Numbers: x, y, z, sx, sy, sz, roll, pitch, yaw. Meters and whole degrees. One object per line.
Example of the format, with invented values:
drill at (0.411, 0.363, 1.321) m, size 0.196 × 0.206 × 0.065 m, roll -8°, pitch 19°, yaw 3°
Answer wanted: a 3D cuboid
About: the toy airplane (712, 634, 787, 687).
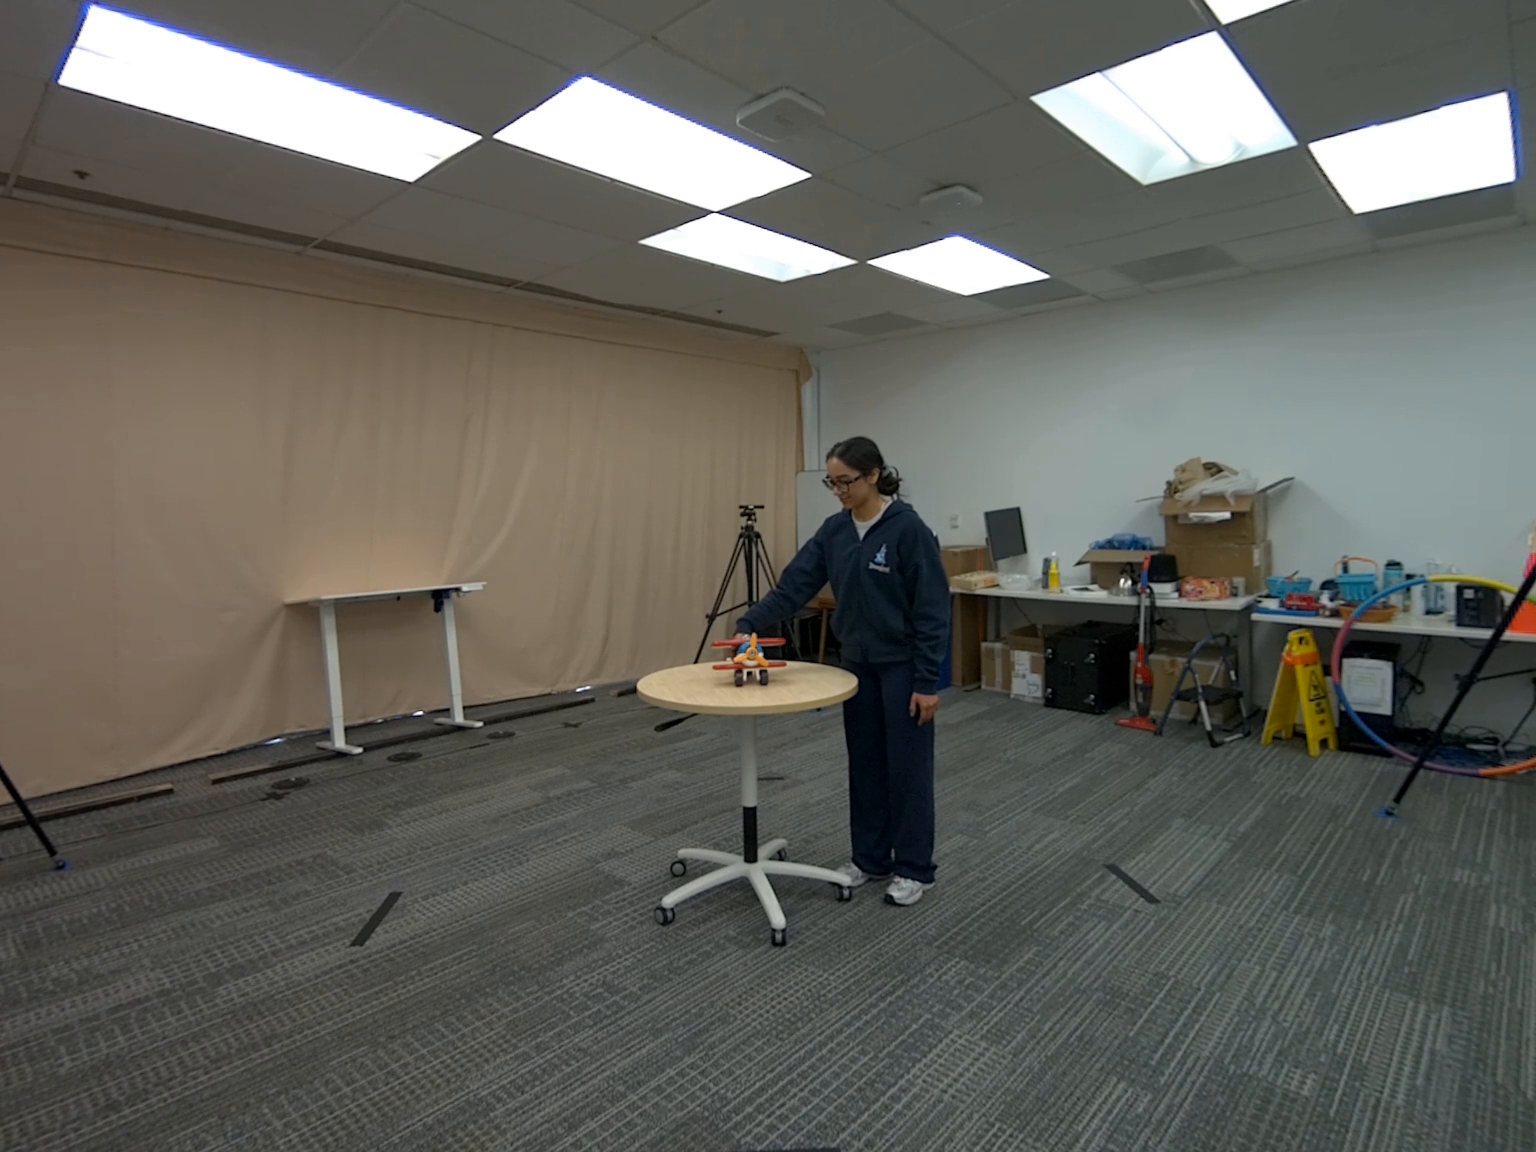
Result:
toy airplane at (-0.079, 0.295, 2.932) m, size 0.244 × 0.156 × 0.267 m, roll -5°, pitch 5°, yaw -31°
